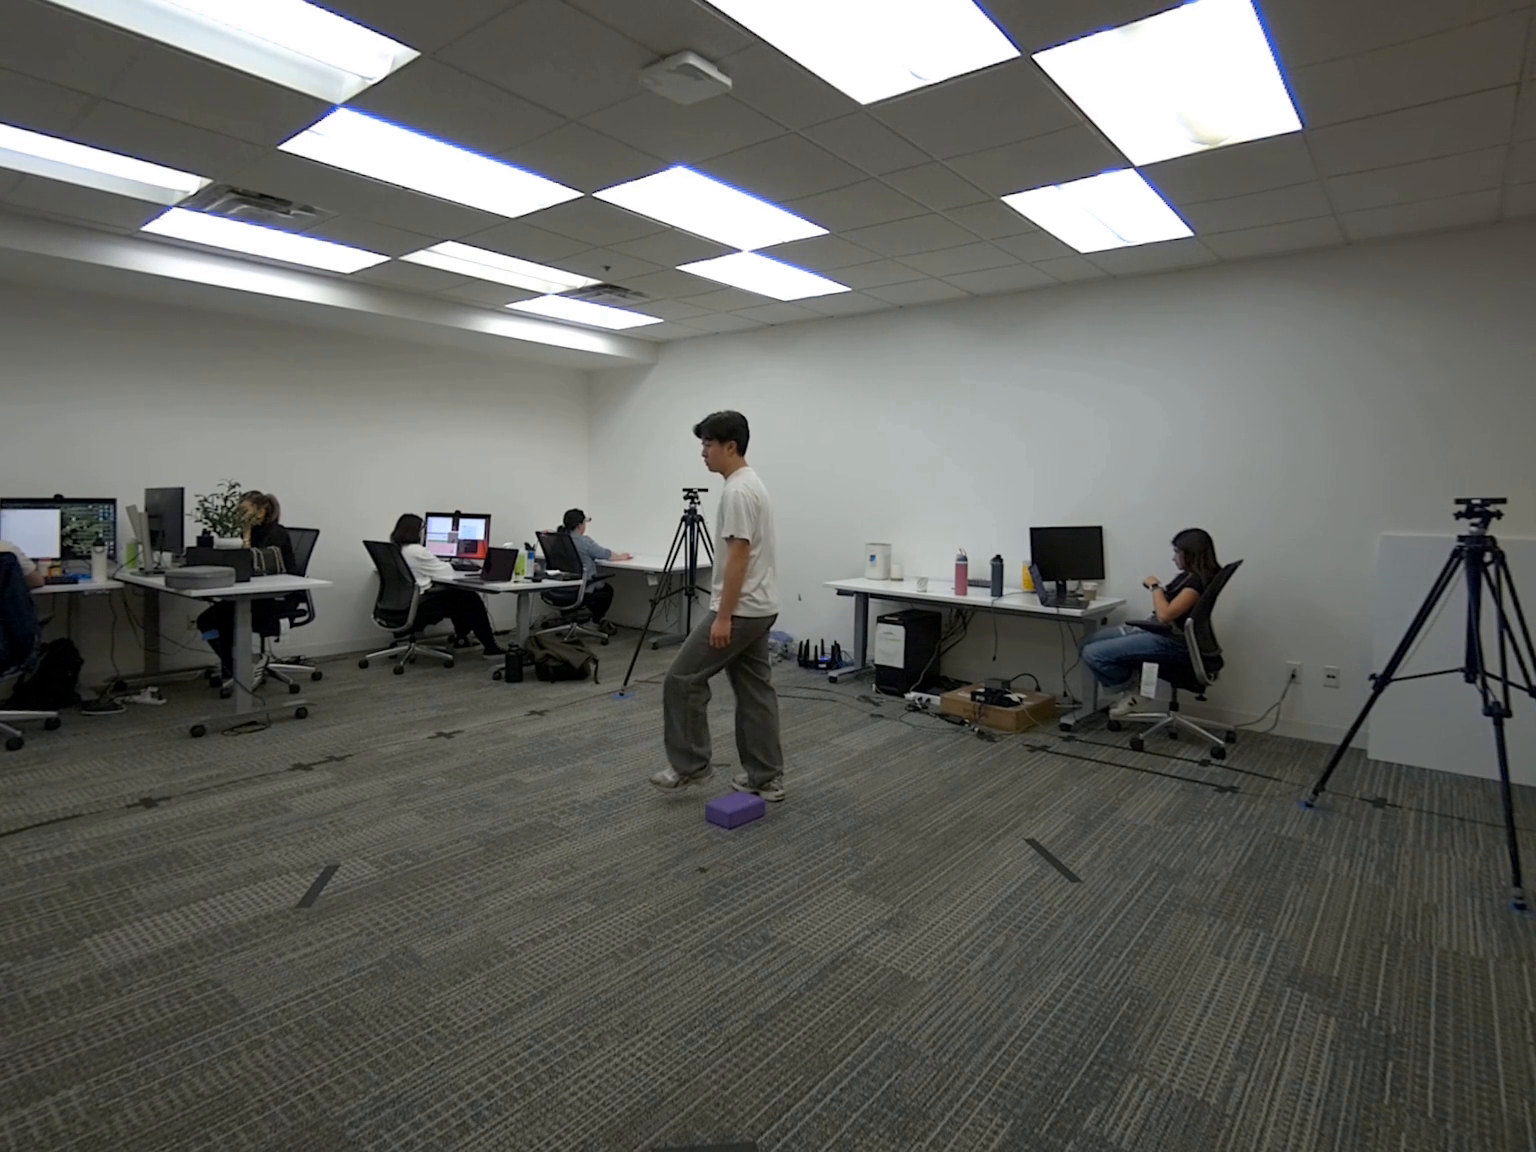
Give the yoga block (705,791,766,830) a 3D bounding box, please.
[{"bbox_3d":[-0.137,0.979,3.606,0.154,0.076,0.222,5,7,42],"label":"yoga block"}]
